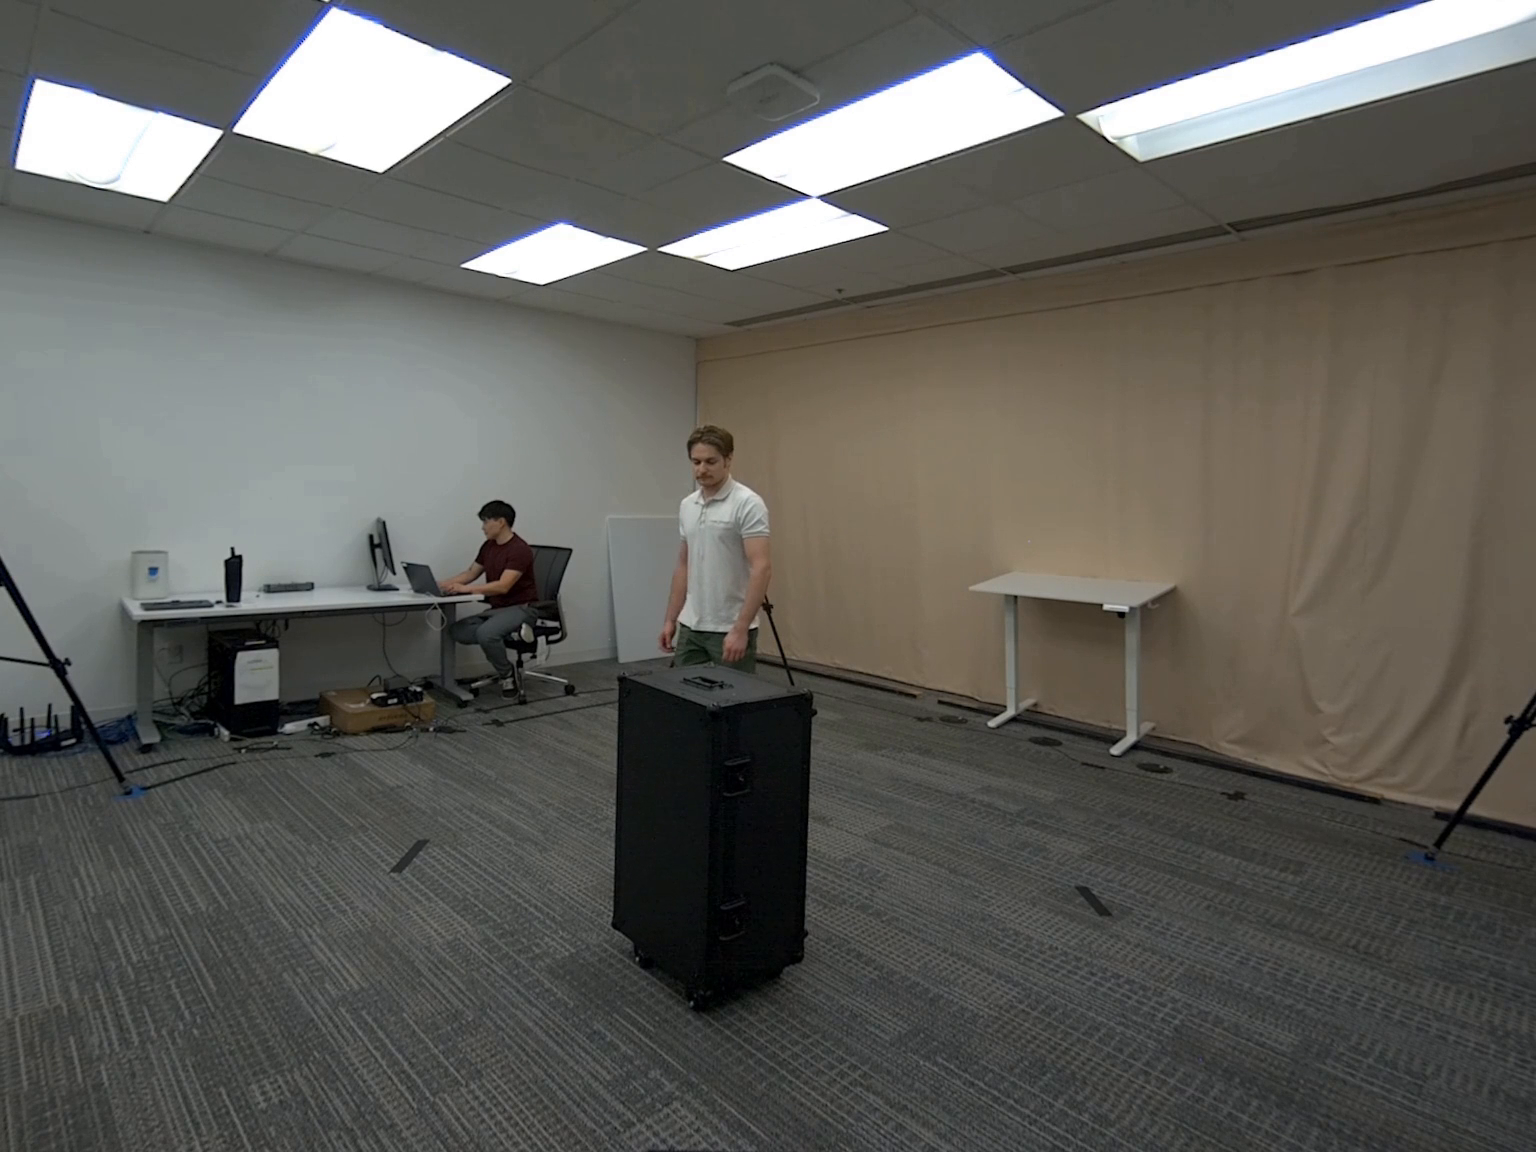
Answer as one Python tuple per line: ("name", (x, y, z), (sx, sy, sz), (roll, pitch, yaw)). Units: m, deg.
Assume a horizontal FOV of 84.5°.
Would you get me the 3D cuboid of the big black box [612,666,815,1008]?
("big black box", (-0.174, 0.737, 2.477), (0.387, 0.860, 0.534), (0, 3, -39))
